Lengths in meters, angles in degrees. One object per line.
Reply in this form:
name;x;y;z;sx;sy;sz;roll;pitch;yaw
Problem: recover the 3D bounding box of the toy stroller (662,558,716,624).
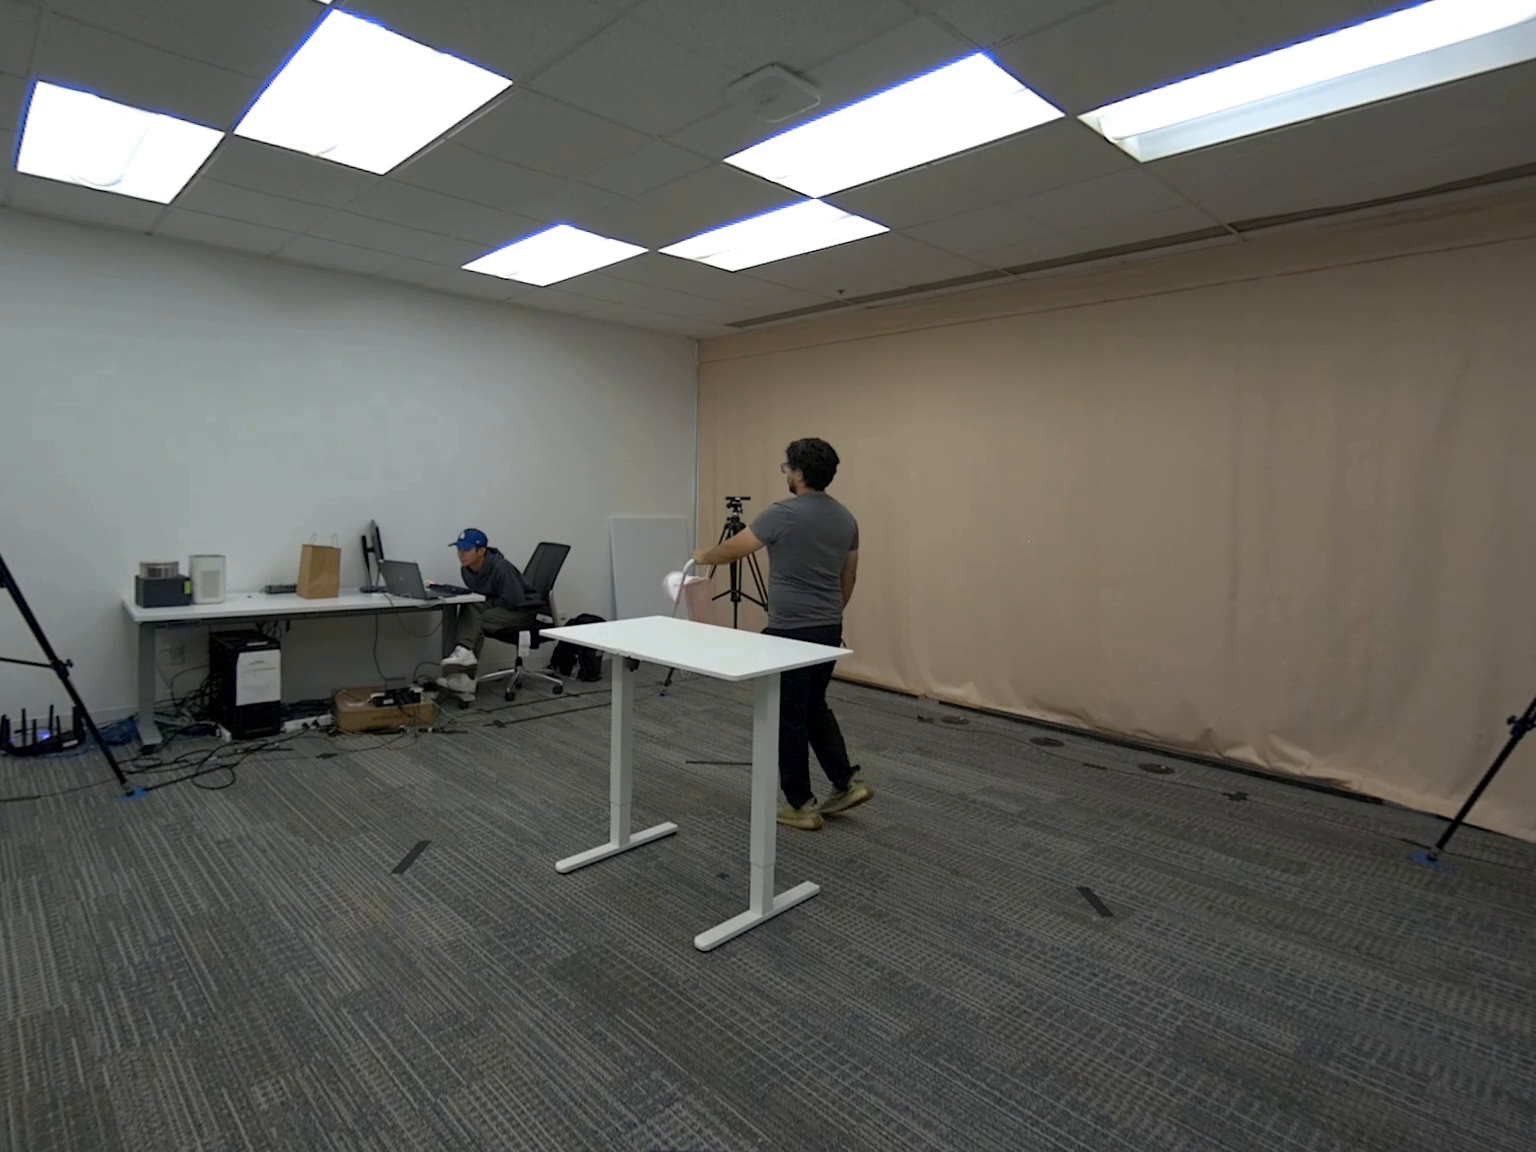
toy stroller;-0.350;0.198;3.927;0.347;0.536;0.276;-17;-1;43
